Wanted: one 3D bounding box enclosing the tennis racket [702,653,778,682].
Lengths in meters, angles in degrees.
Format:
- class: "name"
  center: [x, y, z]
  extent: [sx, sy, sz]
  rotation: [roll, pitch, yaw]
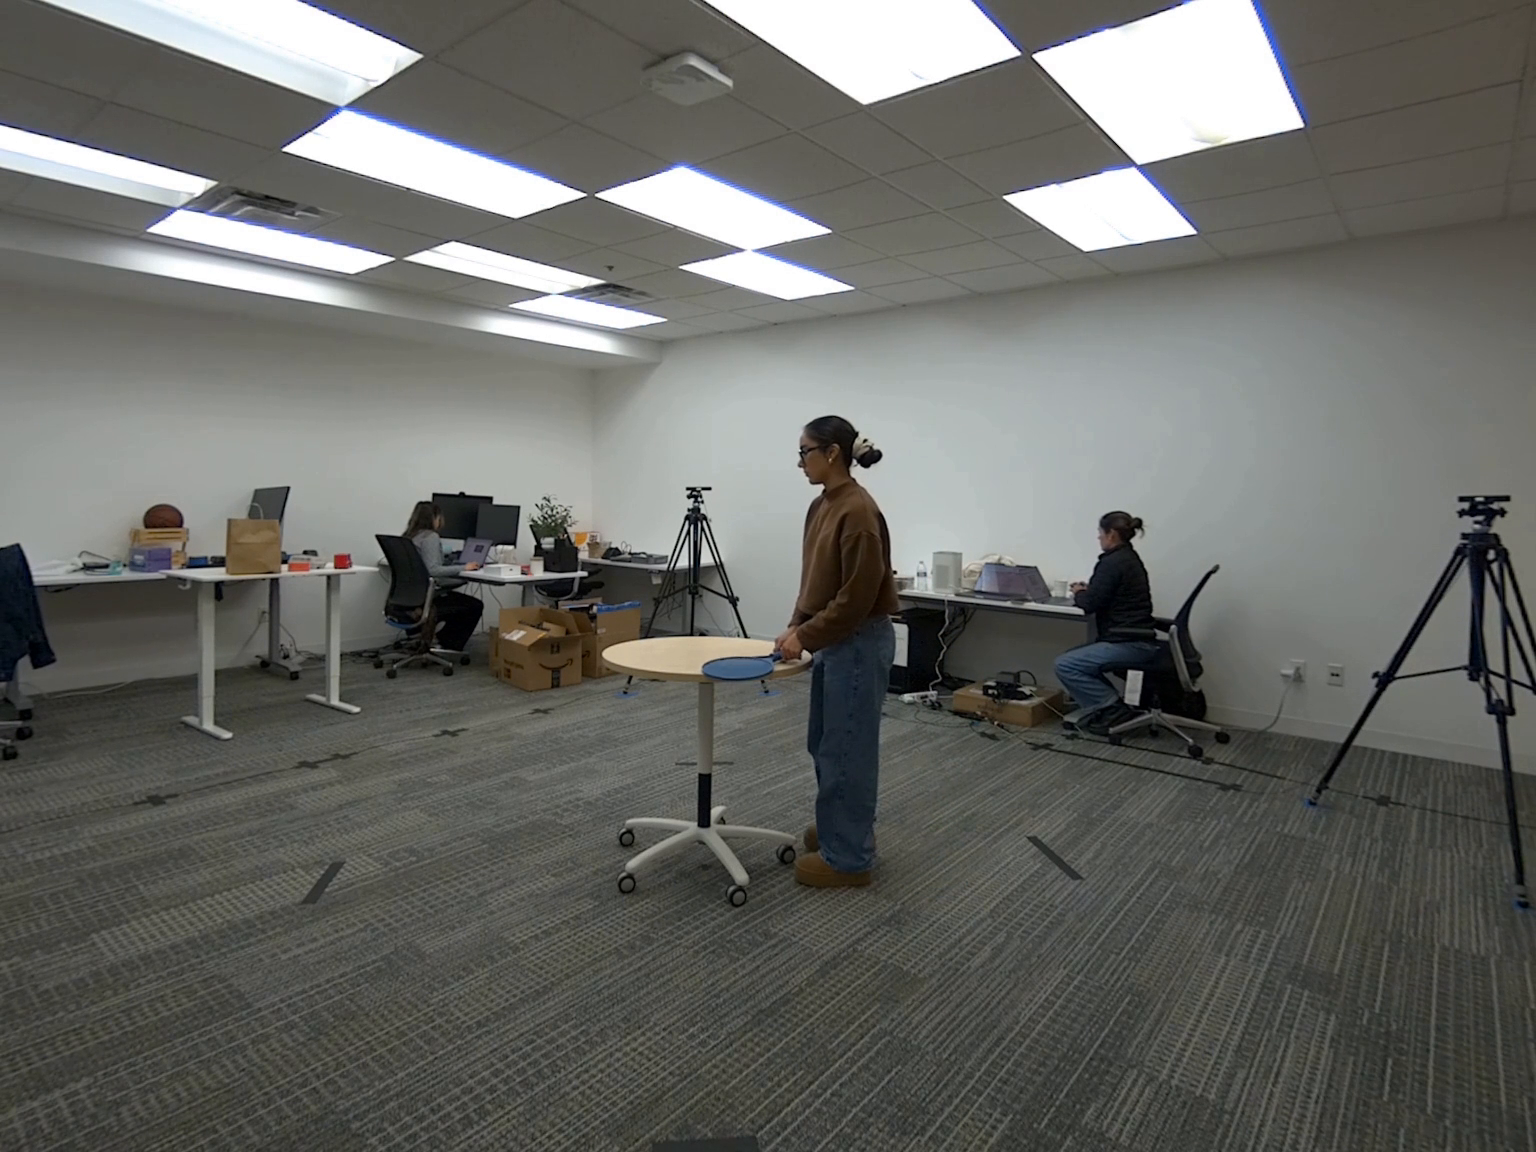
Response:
- class: "tennis racket"
  center: [-0.043, 0.303, 2.852]
  extent: [0.421, 0.031, 0.221]
  rotation: [-4, 12, -35]
